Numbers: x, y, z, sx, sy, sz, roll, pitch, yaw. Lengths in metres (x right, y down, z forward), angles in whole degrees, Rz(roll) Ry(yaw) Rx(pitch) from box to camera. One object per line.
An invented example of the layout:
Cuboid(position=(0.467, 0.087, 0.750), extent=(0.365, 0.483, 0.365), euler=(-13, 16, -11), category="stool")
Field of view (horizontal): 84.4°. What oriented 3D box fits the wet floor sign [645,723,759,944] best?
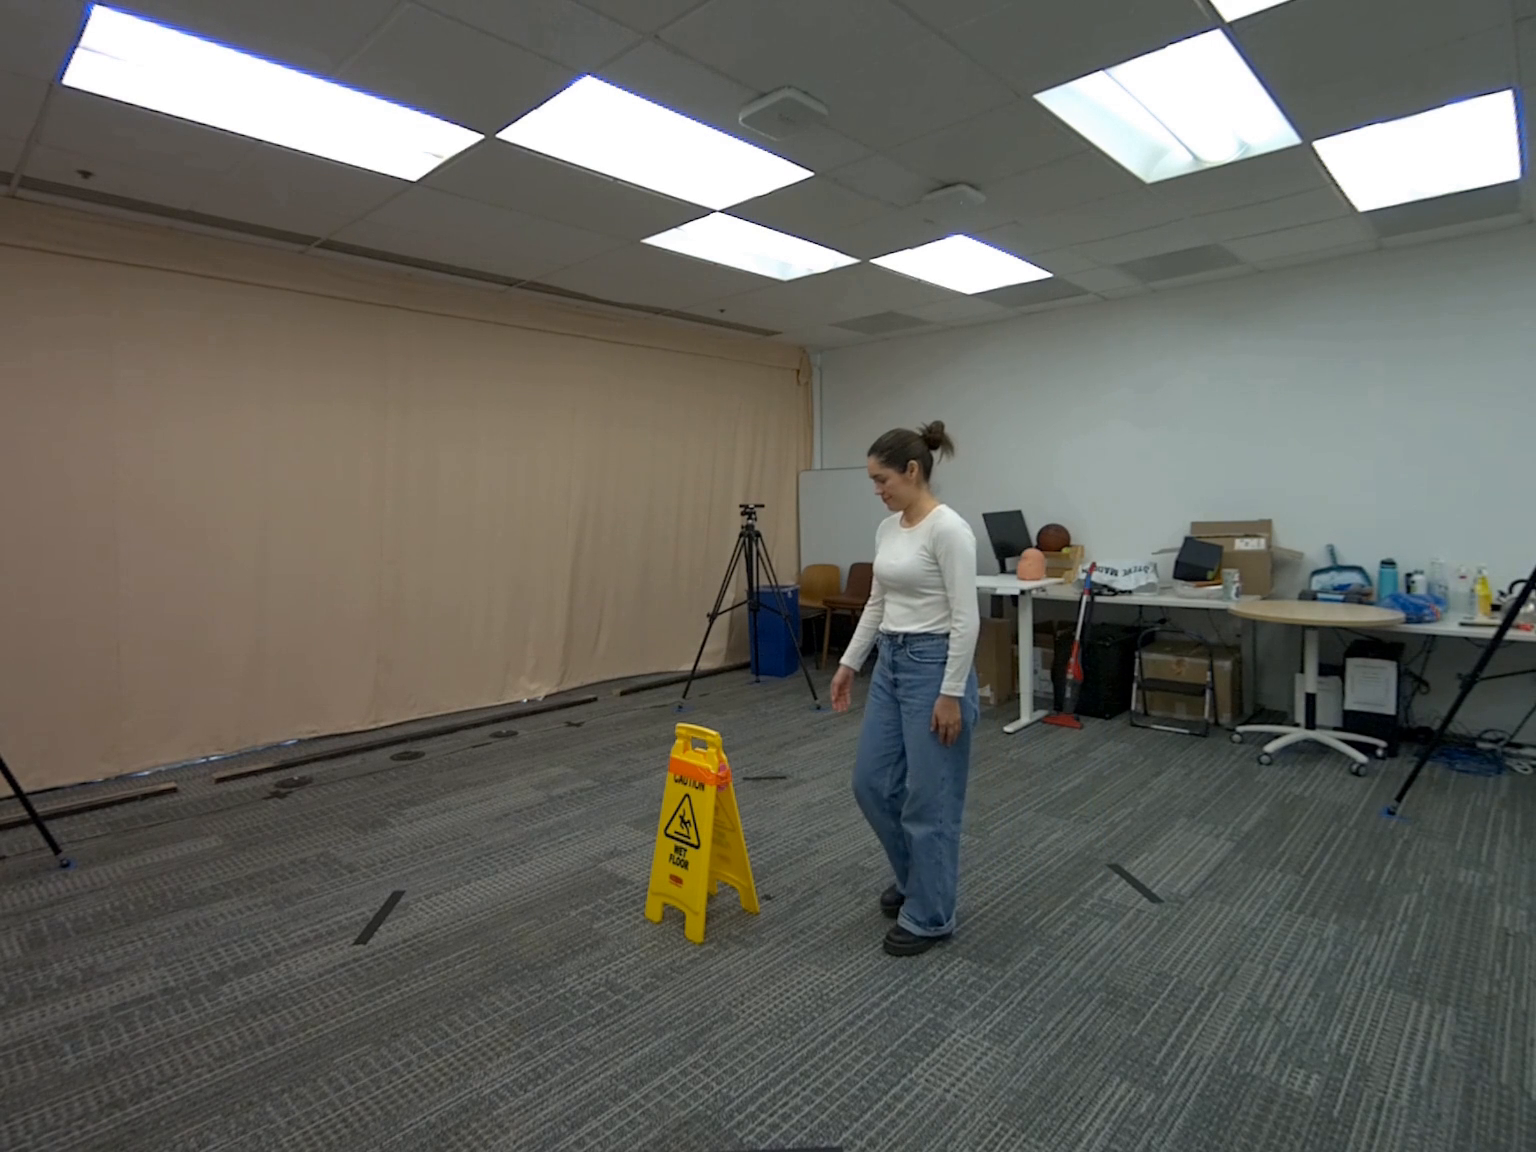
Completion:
Cuboid(position=(-0.229, 0.832, 2.846), extent=(0.291, 0.645, 0.281), euler=(1, 4, 43), category="wet floor sign")
